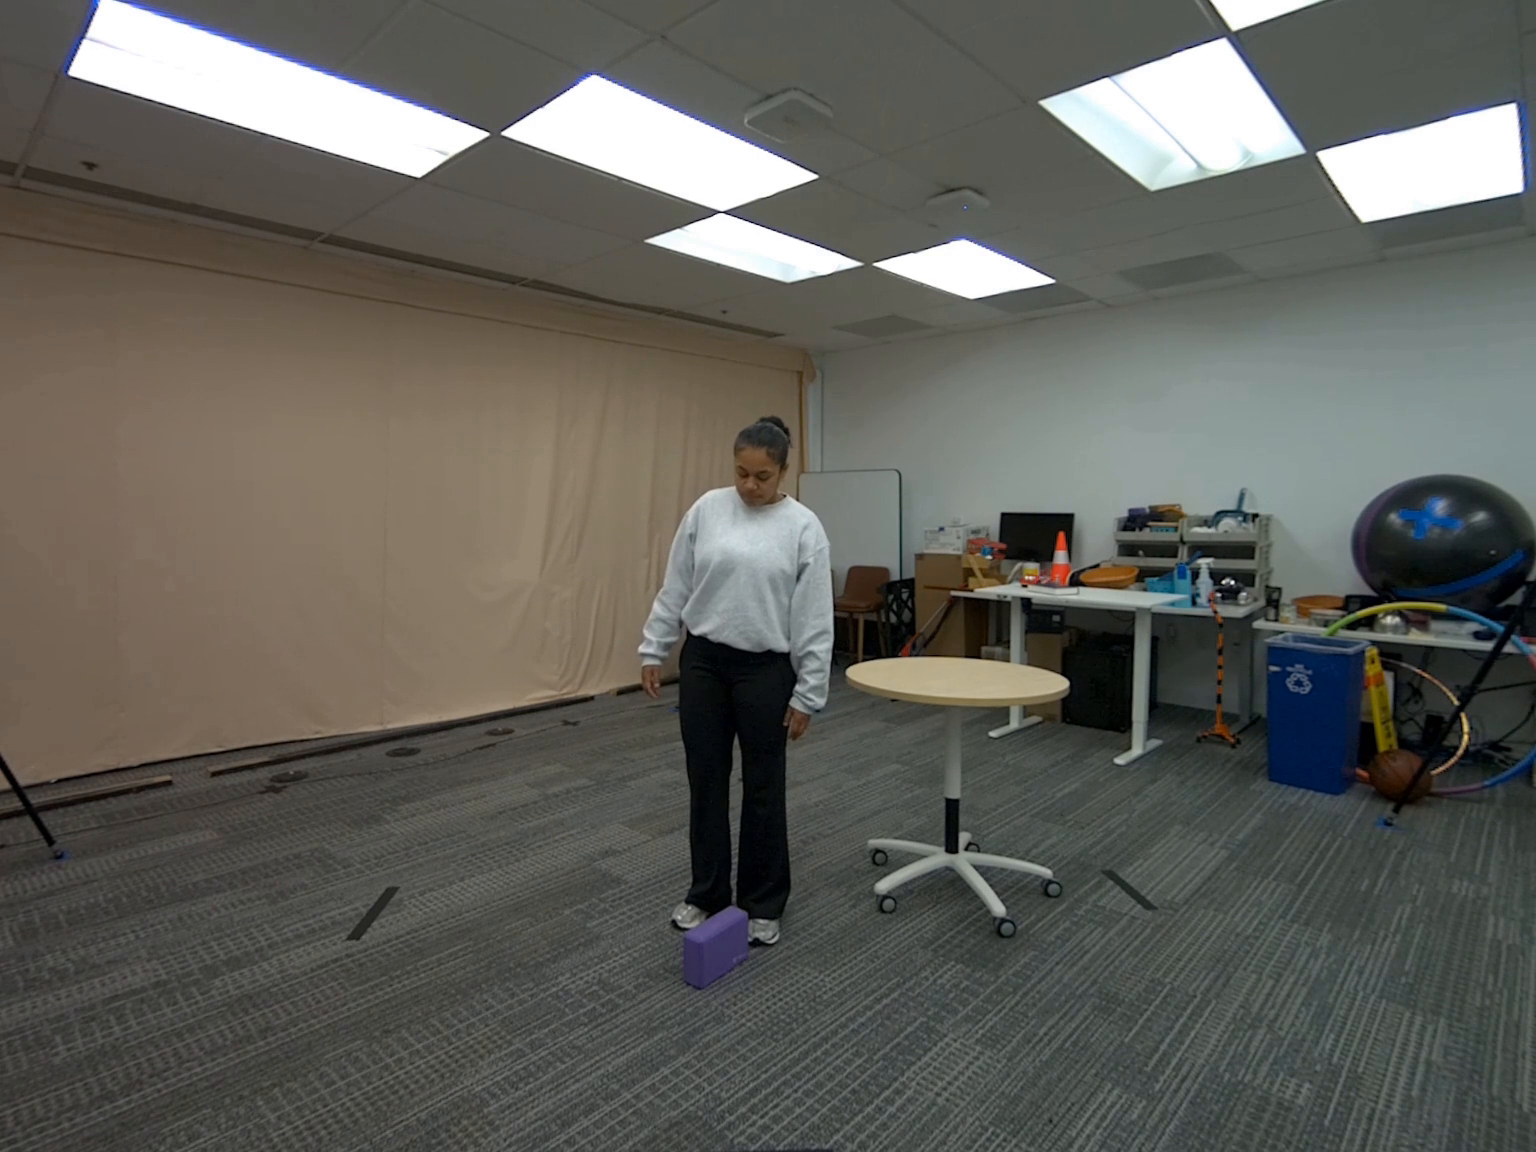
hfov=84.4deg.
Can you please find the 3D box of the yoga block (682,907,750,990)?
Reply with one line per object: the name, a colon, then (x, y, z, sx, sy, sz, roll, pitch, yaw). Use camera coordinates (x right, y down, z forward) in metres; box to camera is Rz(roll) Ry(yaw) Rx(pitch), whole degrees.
yoga block: (-0.155, 1.103, 2.521, 0.079, 0.148, 0.223, 1, 6, 36)
